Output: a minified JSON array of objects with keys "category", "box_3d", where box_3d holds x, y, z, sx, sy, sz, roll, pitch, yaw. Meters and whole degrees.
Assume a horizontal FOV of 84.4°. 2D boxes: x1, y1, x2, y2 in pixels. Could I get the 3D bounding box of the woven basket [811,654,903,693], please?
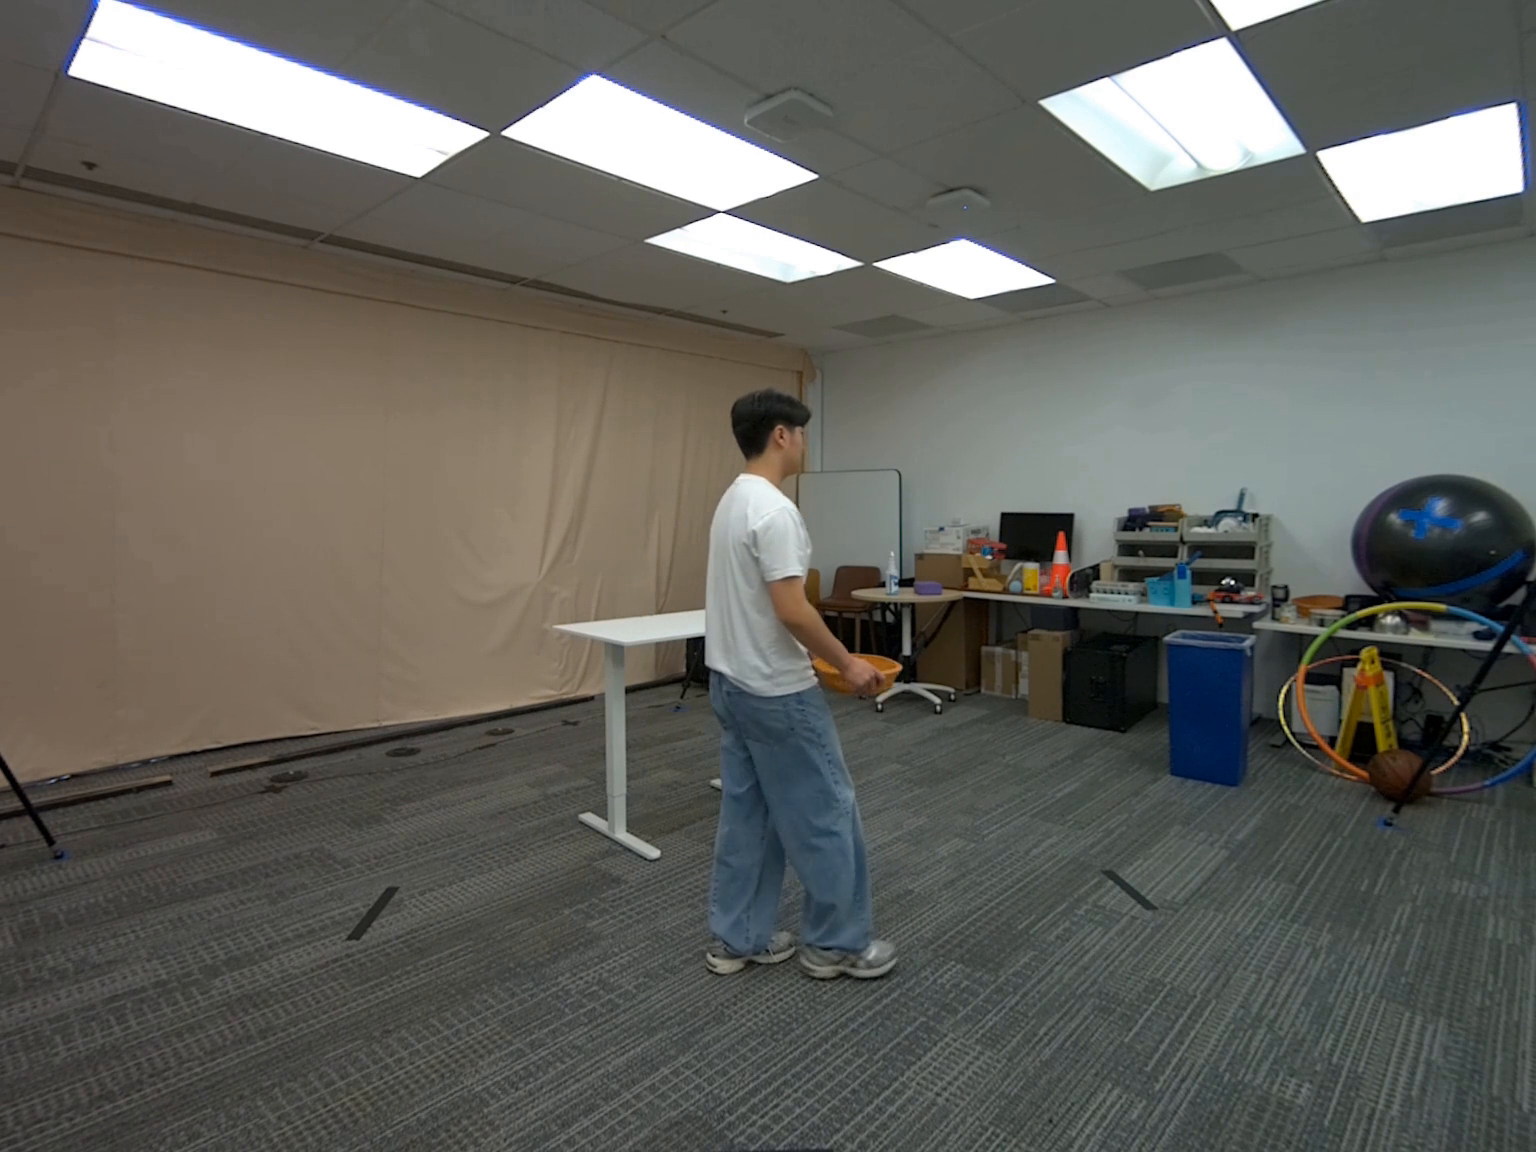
[{"category":"woven basket","box_3d":[0.264,0.313,2.594,0.252,0.073,0.351,-3,3,-1]}]
